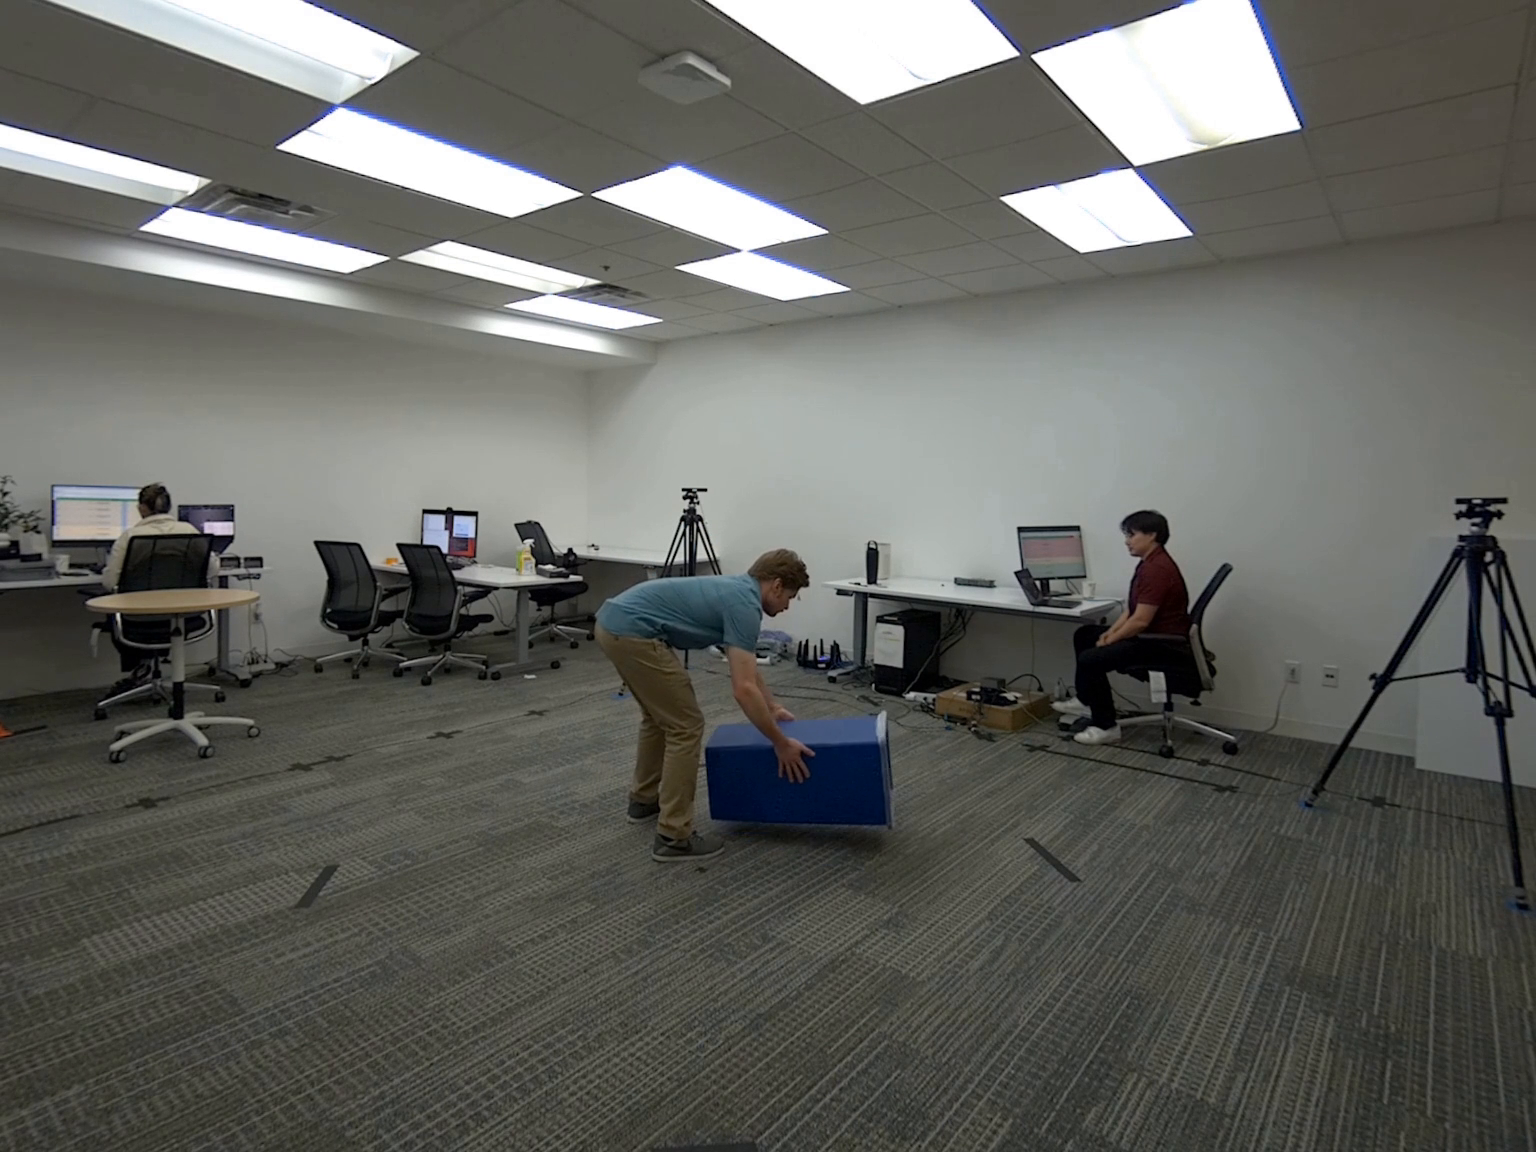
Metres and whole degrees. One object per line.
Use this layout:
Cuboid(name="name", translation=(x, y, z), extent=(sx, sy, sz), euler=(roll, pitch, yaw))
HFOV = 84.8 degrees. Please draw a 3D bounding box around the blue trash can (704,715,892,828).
Cuboid(name="blue trash can", translation=(0.124, 0.787, 3.435), extent=(0.721, 0.376, 0.372), euler=(-5, 7, 10))
